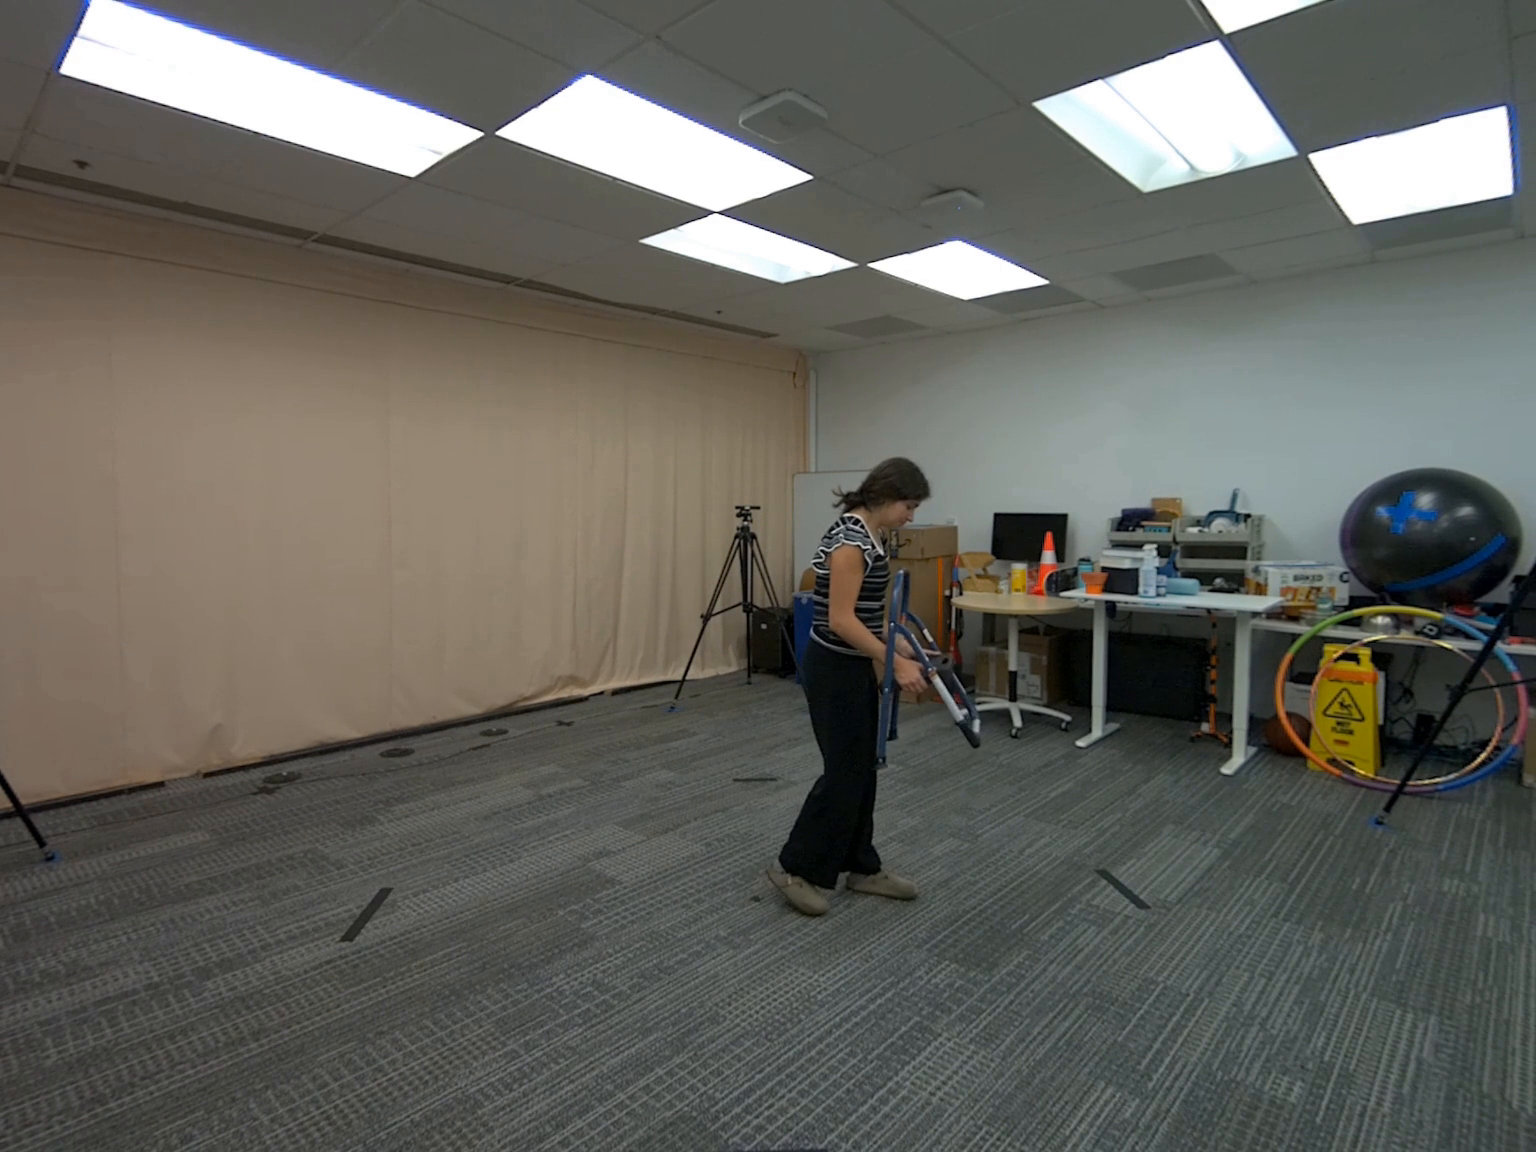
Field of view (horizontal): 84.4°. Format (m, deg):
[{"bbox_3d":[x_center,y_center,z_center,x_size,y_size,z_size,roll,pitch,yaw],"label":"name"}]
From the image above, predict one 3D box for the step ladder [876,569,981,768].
[{"bbox_3d":[0.479,0.286,2.906,0.354,0.608,0.423,-17,-3,15],"label":"step ladder"}]
